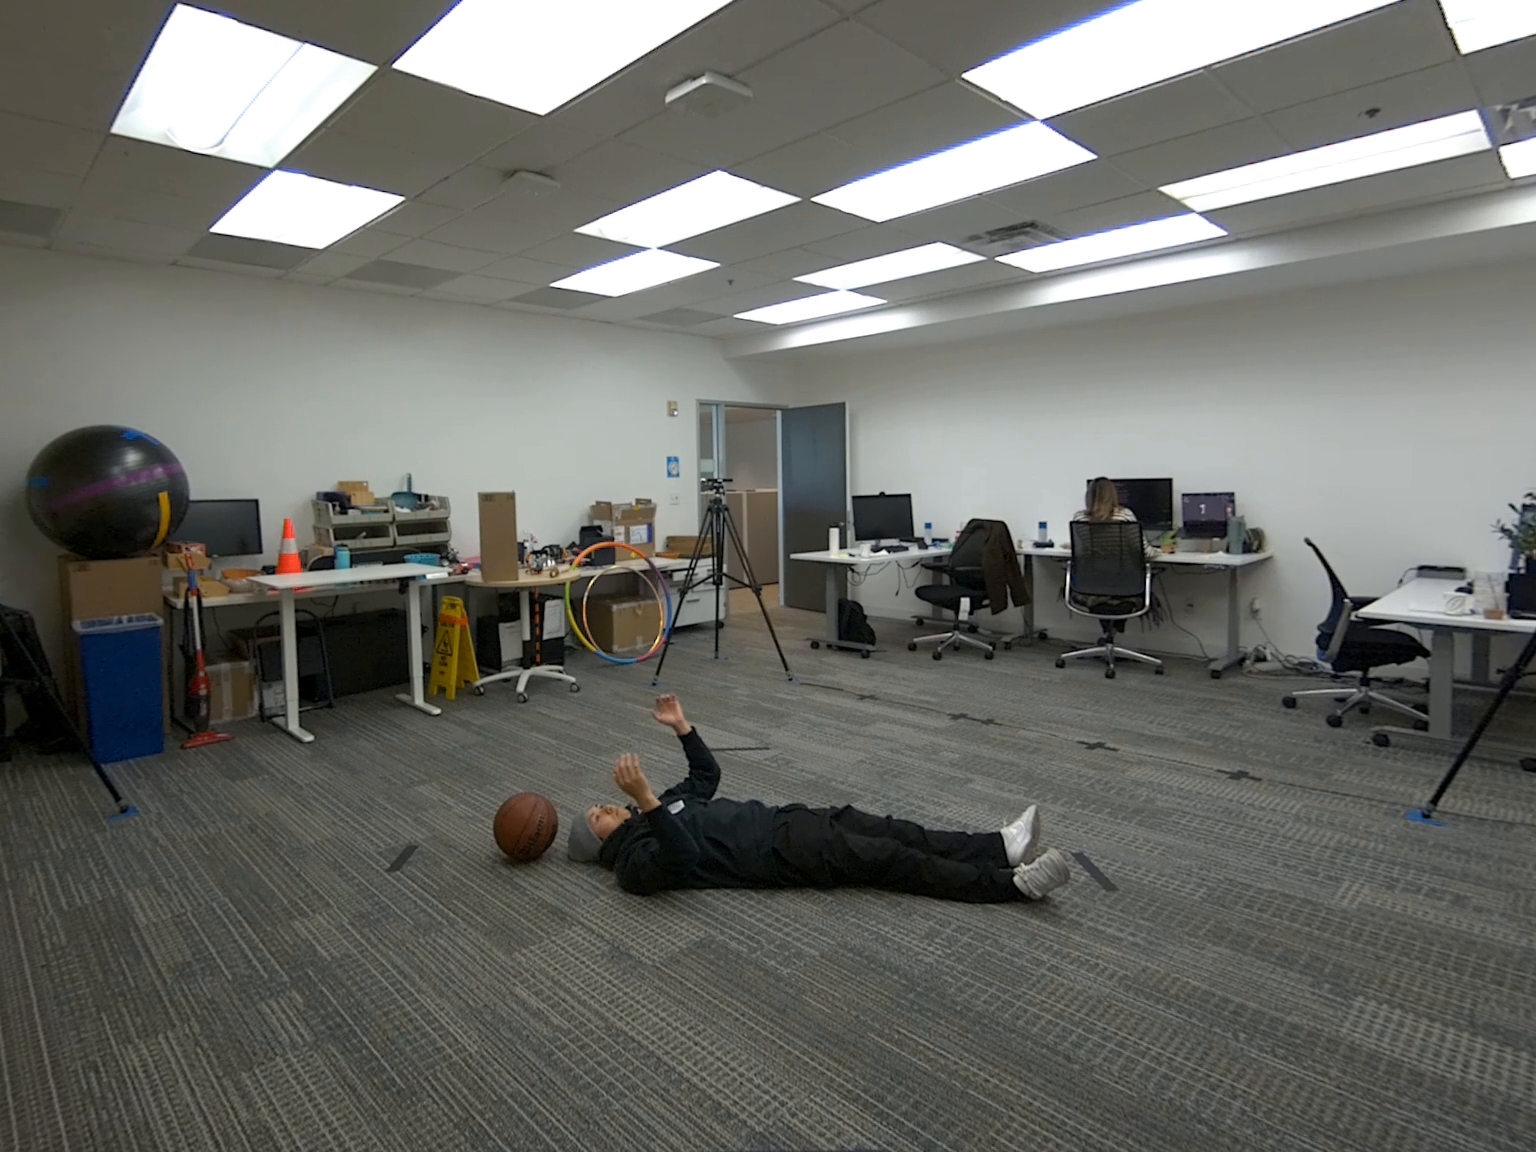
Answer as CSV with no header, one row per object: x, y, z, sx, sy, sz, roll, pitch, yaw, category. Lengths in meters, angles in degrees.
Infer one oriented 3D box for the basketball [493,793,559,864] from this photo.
-0.904,0.932,3.192,0.236,0.235,0.237,-1,5,-2,basketball
